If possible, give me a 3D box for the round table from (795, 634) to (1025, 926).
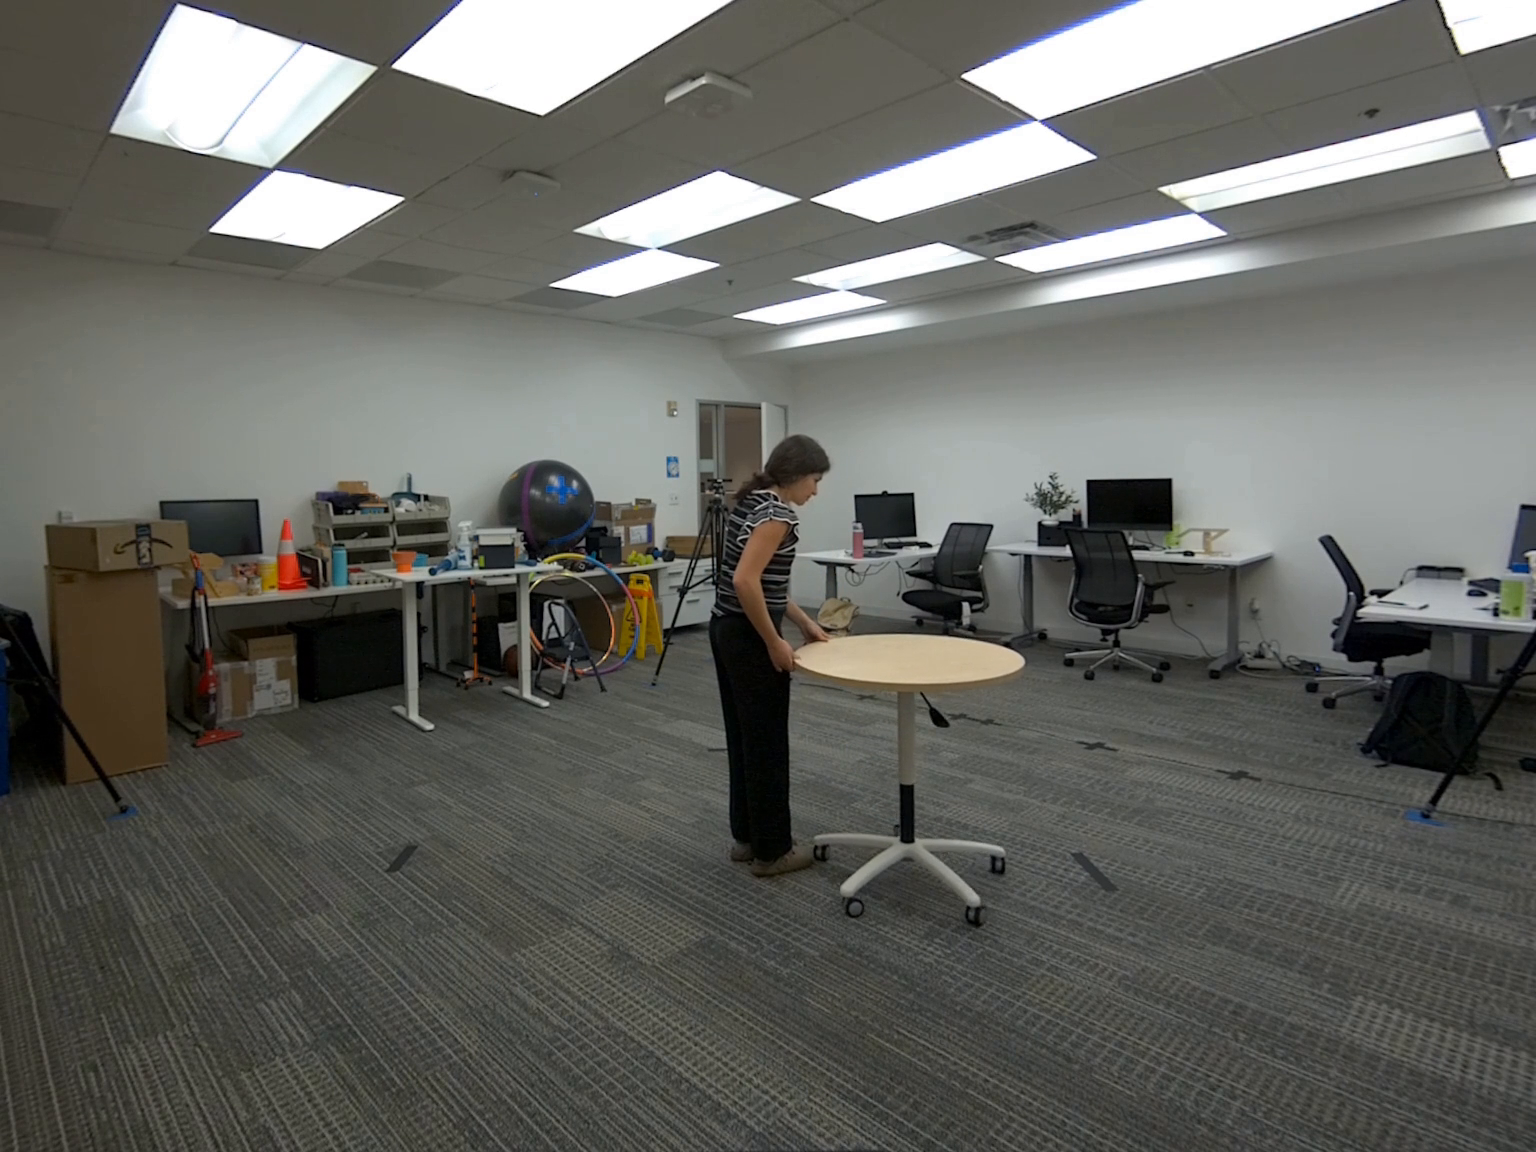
[{"bbox_3d":[0.466,0.657,2.940,0.784,0.783,0.789,-1,5,-2],"label":"round table"}]
